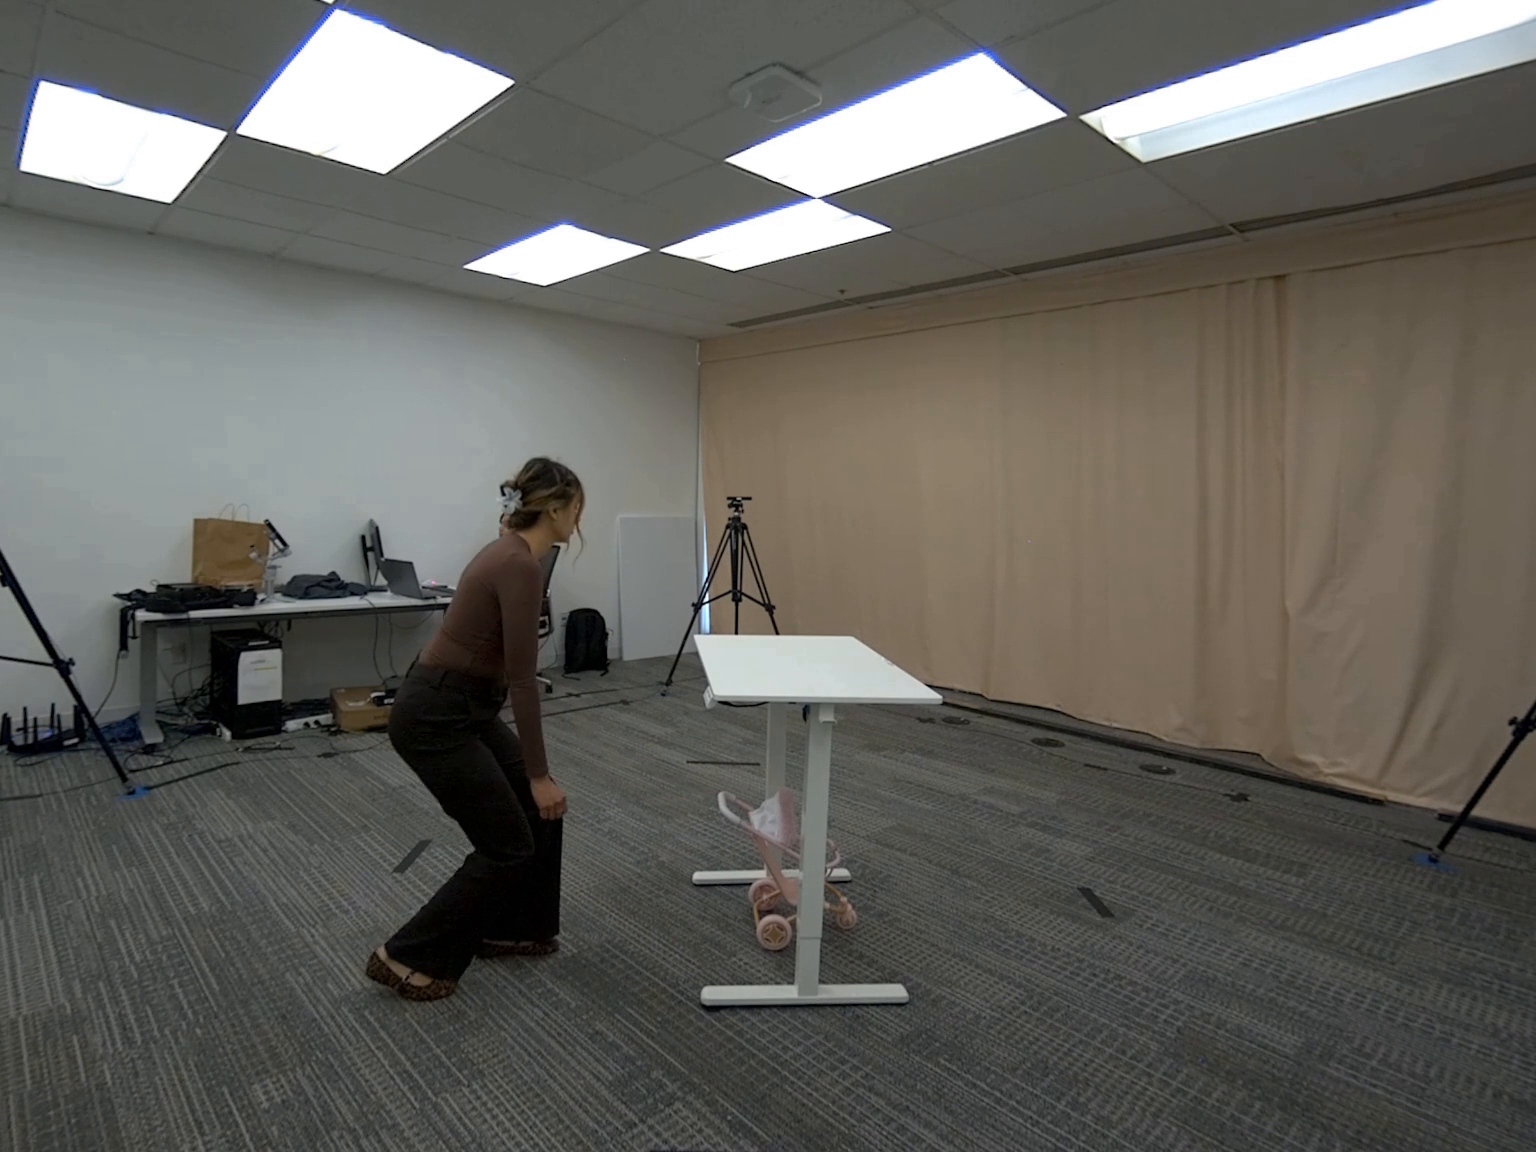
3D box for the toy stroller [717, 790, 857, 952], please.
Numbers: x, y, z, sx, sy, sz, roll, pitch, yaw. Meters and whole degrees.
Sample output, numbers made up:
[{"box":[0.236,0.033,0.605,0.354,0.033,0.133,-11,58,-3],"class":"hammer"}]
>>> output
[{"box":[0.066,0.921,2.709,0.341,0.533,0.282,-14,4,-1],"class":"toy stroller"}]
